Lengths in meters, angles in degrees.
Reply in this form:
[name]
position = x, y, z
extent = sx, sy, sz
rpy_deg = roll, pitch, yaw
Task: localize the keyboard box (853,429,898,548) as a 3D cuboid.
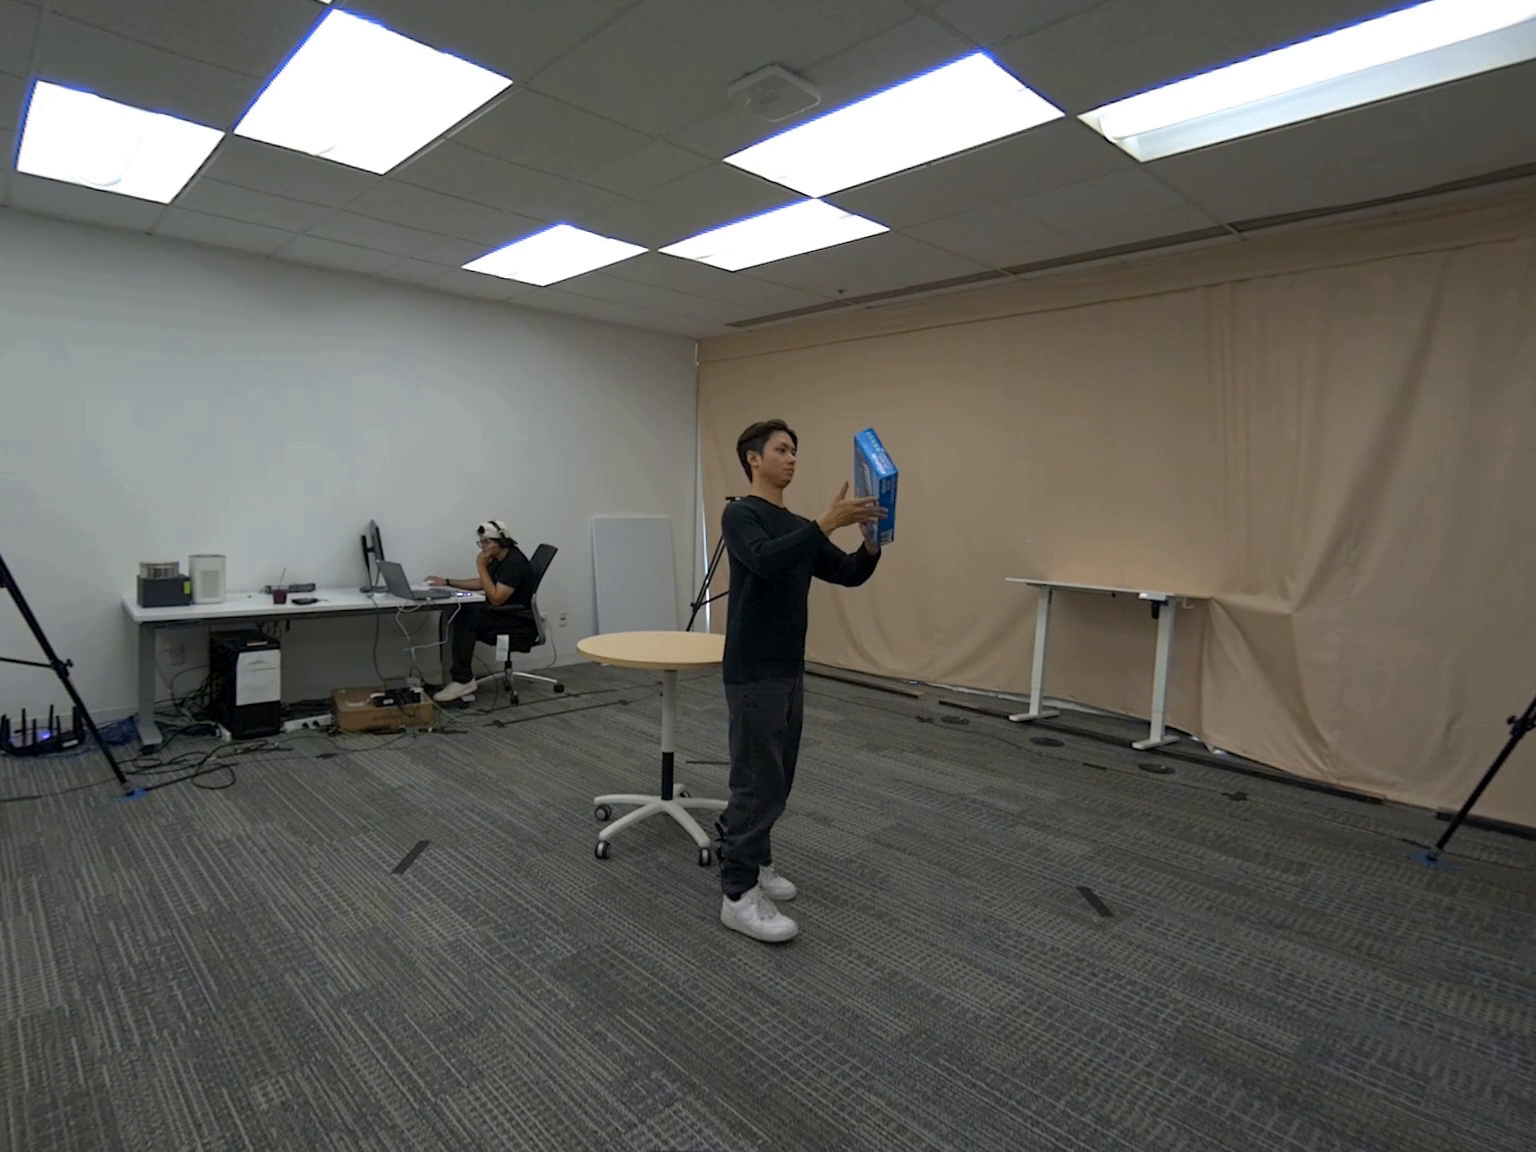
[keyboard box]
position = 0.322, -0.254, 2.587
extent = 0.059, 0.180, 0.427
rpy_deg = -21, -26, -4
